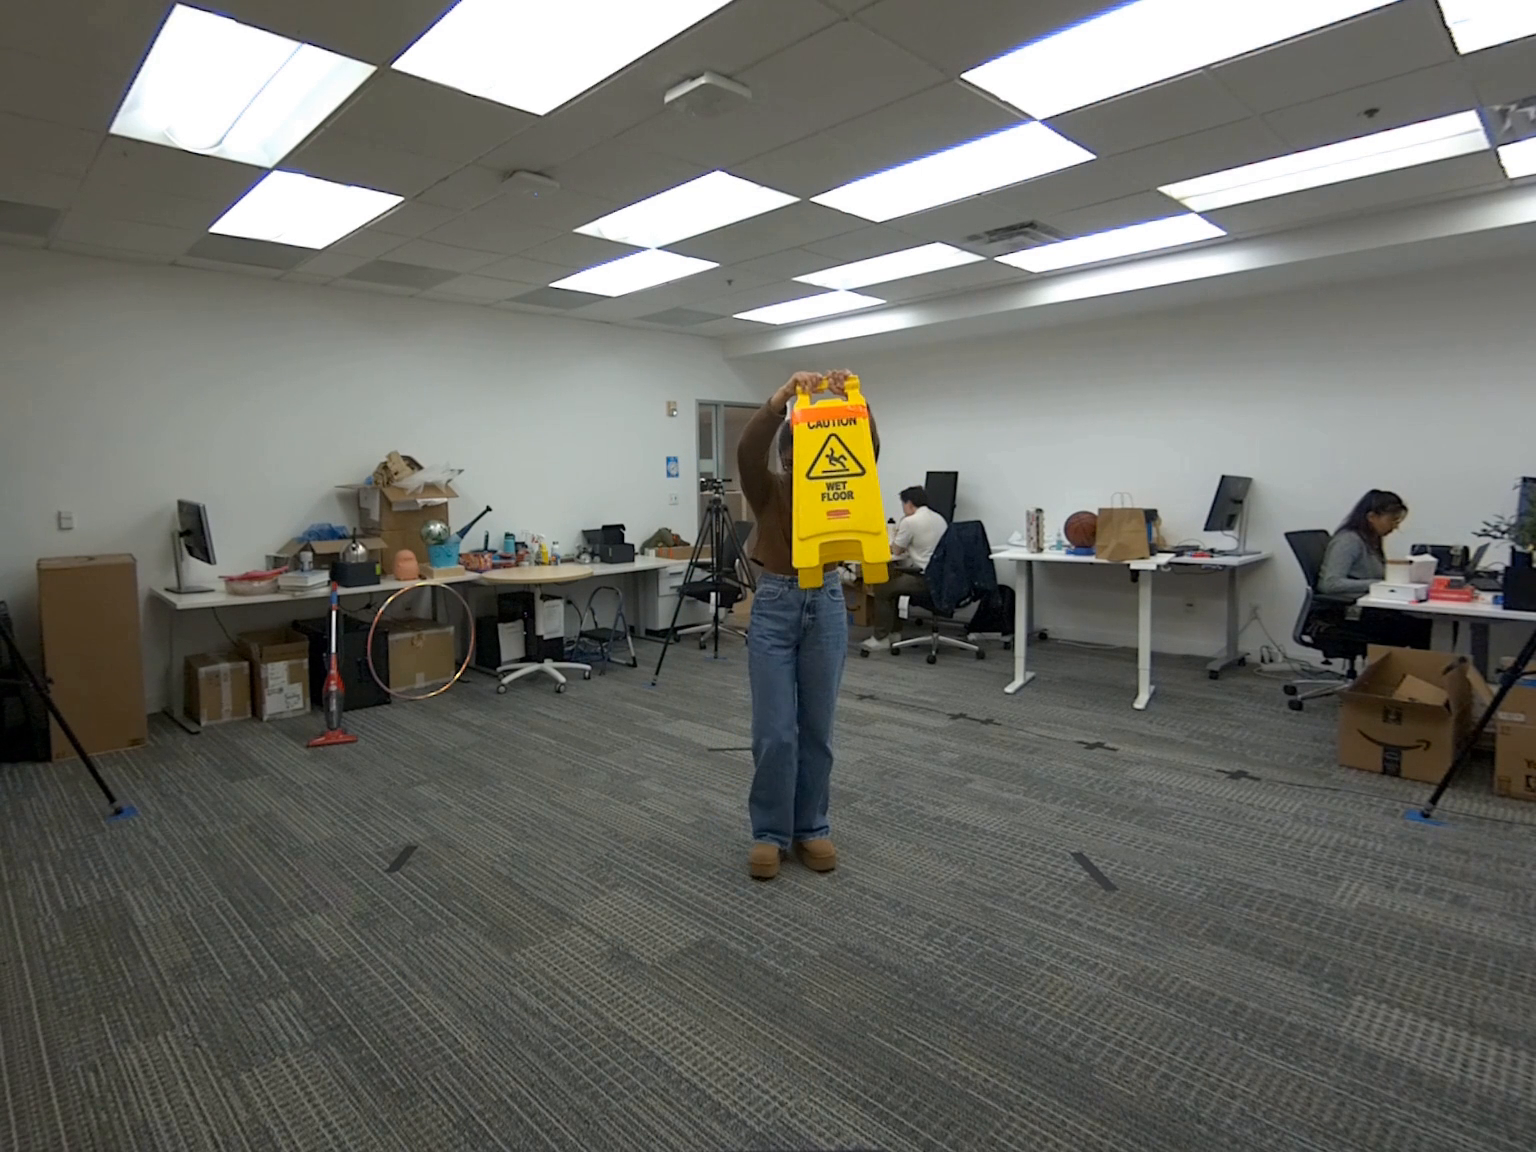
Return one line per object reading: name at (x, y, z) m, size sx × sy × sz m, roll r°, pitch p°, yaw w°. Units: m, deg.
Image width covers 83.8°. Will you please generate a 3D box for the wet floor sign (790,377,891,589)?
wet floor sign at (0.213, -0.310, 2.628) m, size 0.284 × 0.655 × 0.284 m, roll -5°, pitch -15°, yaw 5°
